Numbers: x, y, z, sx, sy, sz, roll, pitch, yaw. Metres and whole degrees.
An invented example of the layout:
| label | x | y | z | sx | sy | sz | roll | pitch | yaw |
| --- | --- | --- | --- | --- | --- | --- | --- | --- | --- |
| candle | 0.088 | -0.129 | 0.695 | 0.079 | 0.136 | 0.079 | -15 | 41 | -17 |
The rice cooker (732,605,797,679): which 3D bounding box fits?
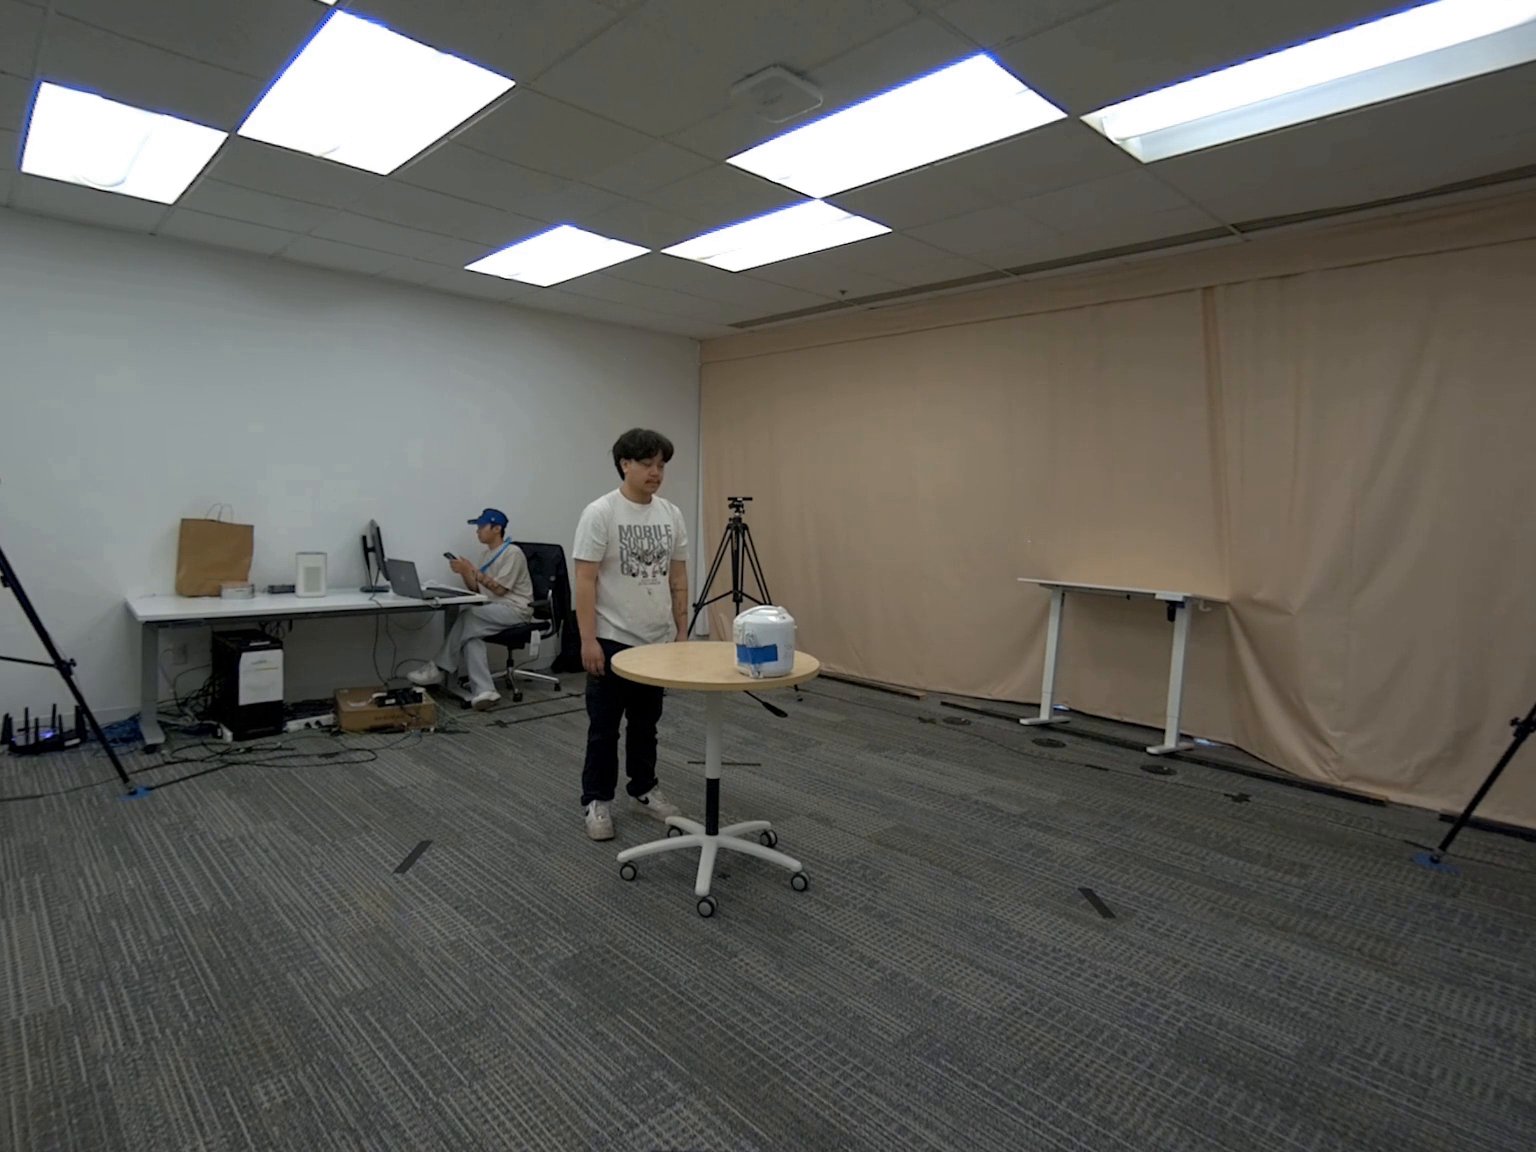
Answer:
| label | x | y | z | sx | sy | sz | roll | pitch | yaw |
| --- | --- | --- | --- | --- | --- | --- | --- | --- | --- |
| rice cooker | -0.021 | 0.219 | 2.888 | 0.217 | 0.232 | 0.222 | 0 | 6 | -25 |
